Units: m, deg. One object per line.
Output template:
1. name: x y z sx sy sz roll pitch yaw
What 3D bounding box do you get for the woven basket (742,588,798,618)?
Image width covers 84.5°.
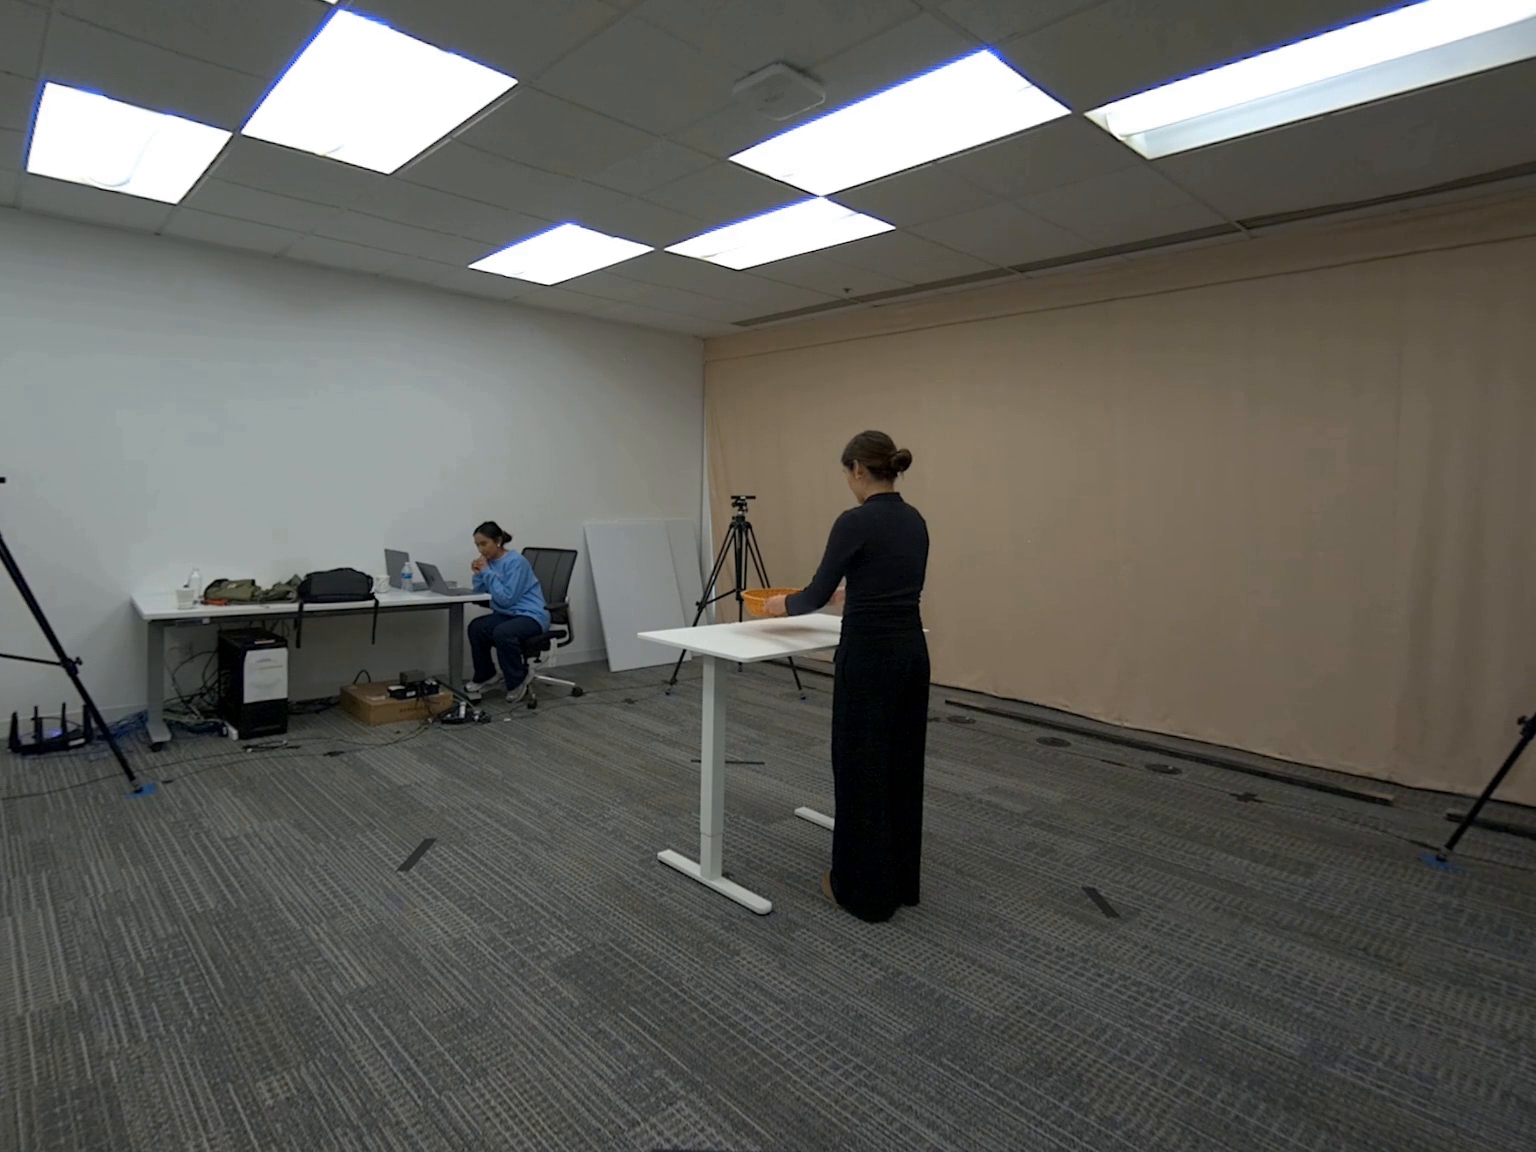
1. woven basket: 0.074 0.114 3.232 0.343 0.073 0.259 -1 8 -32
